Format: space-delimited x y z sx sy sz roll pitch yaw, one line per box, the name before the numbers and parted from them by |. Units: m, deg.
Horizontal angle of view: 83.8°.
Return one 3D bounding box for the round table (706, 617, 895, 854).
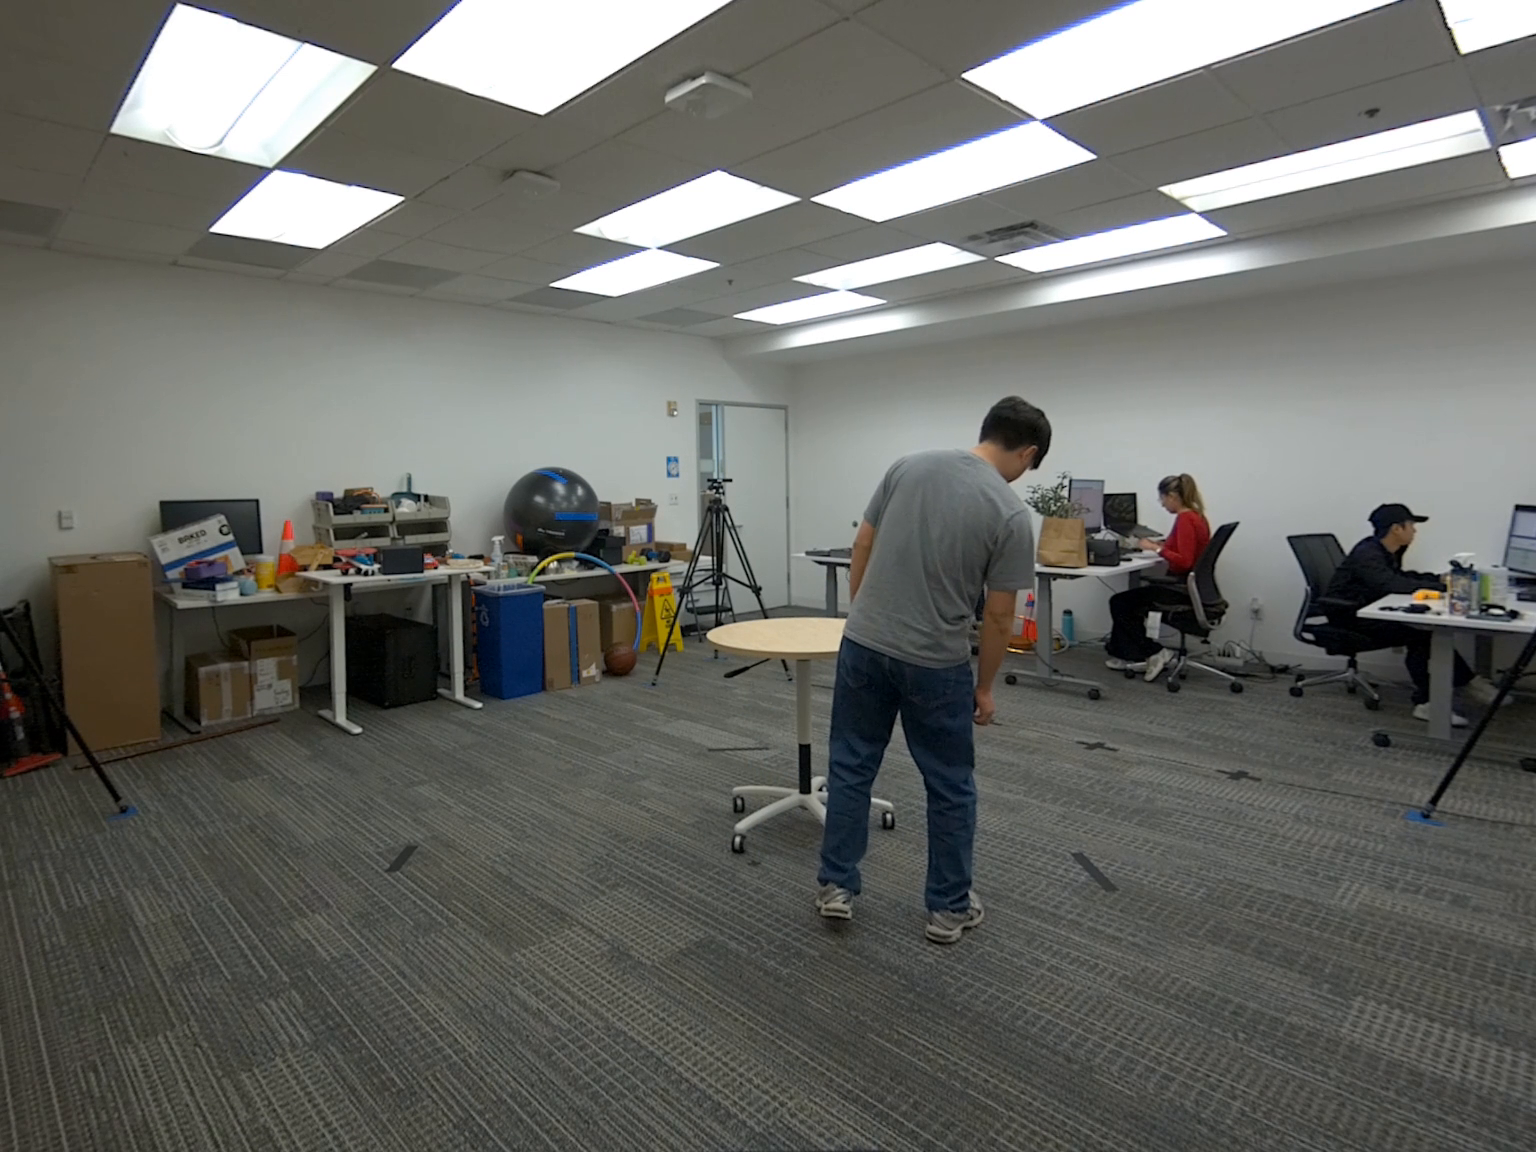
round table | 0.145 0.621 3.405 0.763 0.791 0.767 -1 4 -2
